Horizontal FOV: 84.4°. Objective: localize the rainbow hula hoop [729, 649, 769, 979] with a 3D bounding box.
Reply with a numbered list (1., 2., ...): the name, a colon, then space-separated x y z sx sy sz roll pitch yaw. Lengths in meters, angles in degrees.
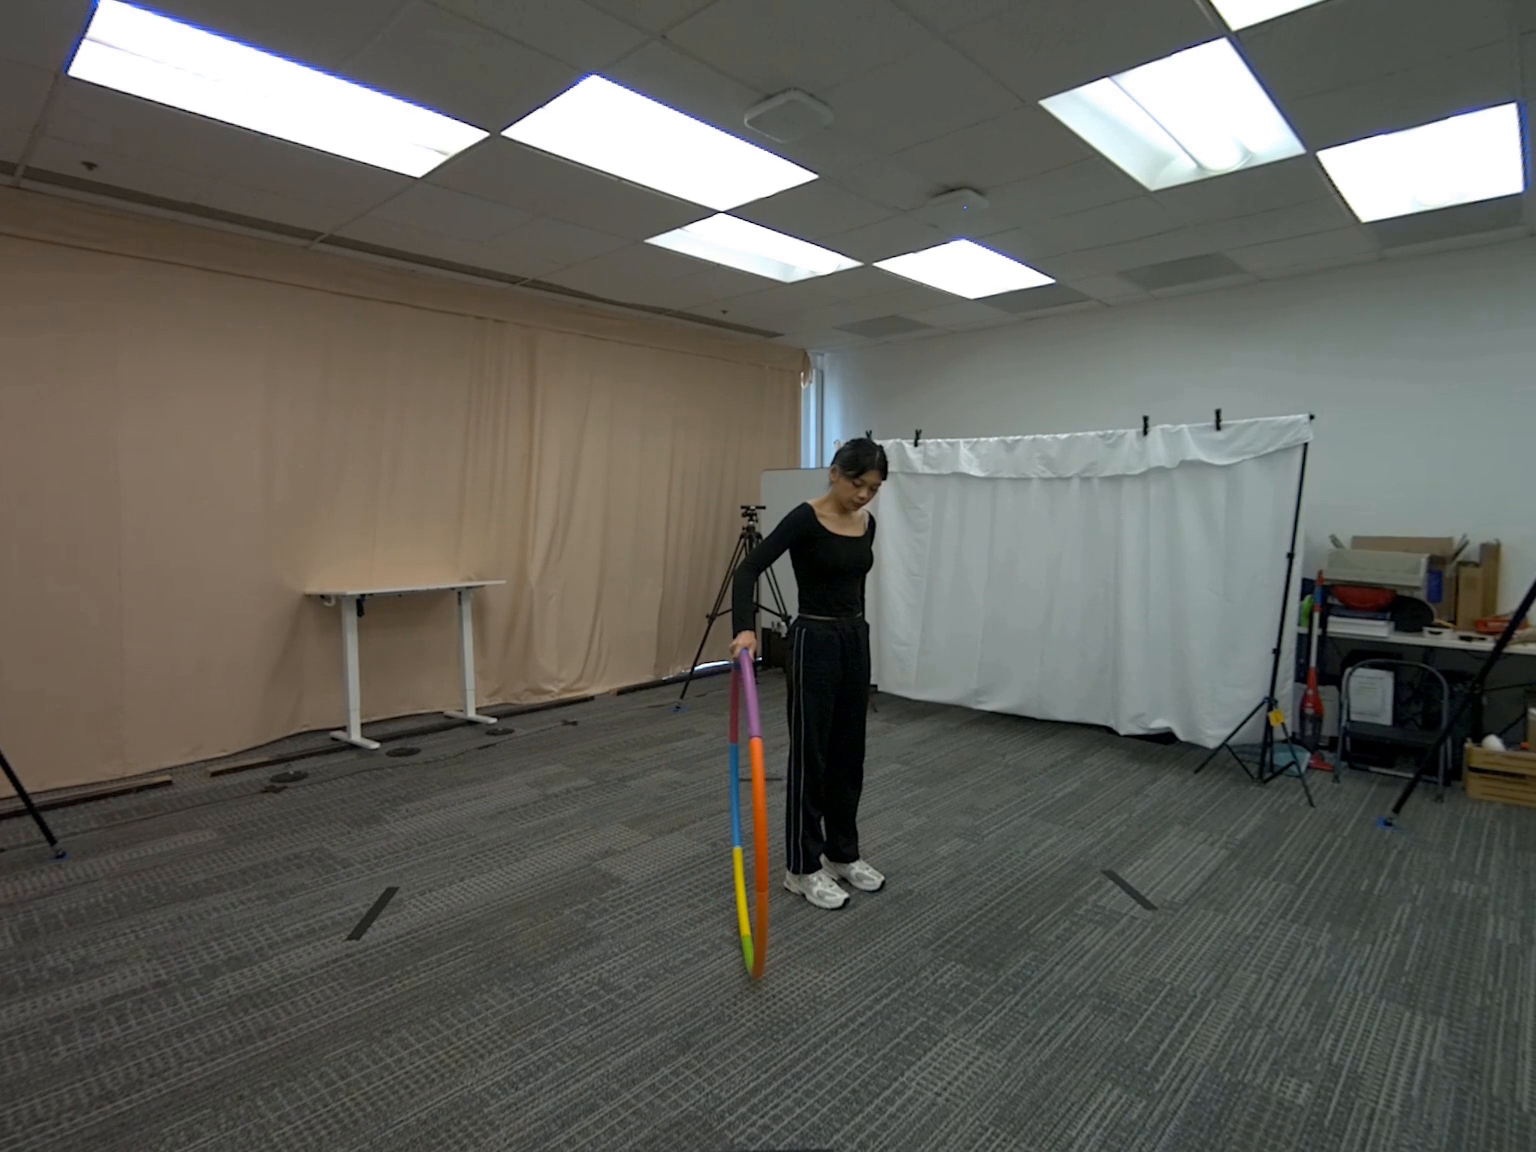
1. rainbow hula hoop: -0.062 0.691 2.593 0.035 0.976 0.985 -1 4 -6
